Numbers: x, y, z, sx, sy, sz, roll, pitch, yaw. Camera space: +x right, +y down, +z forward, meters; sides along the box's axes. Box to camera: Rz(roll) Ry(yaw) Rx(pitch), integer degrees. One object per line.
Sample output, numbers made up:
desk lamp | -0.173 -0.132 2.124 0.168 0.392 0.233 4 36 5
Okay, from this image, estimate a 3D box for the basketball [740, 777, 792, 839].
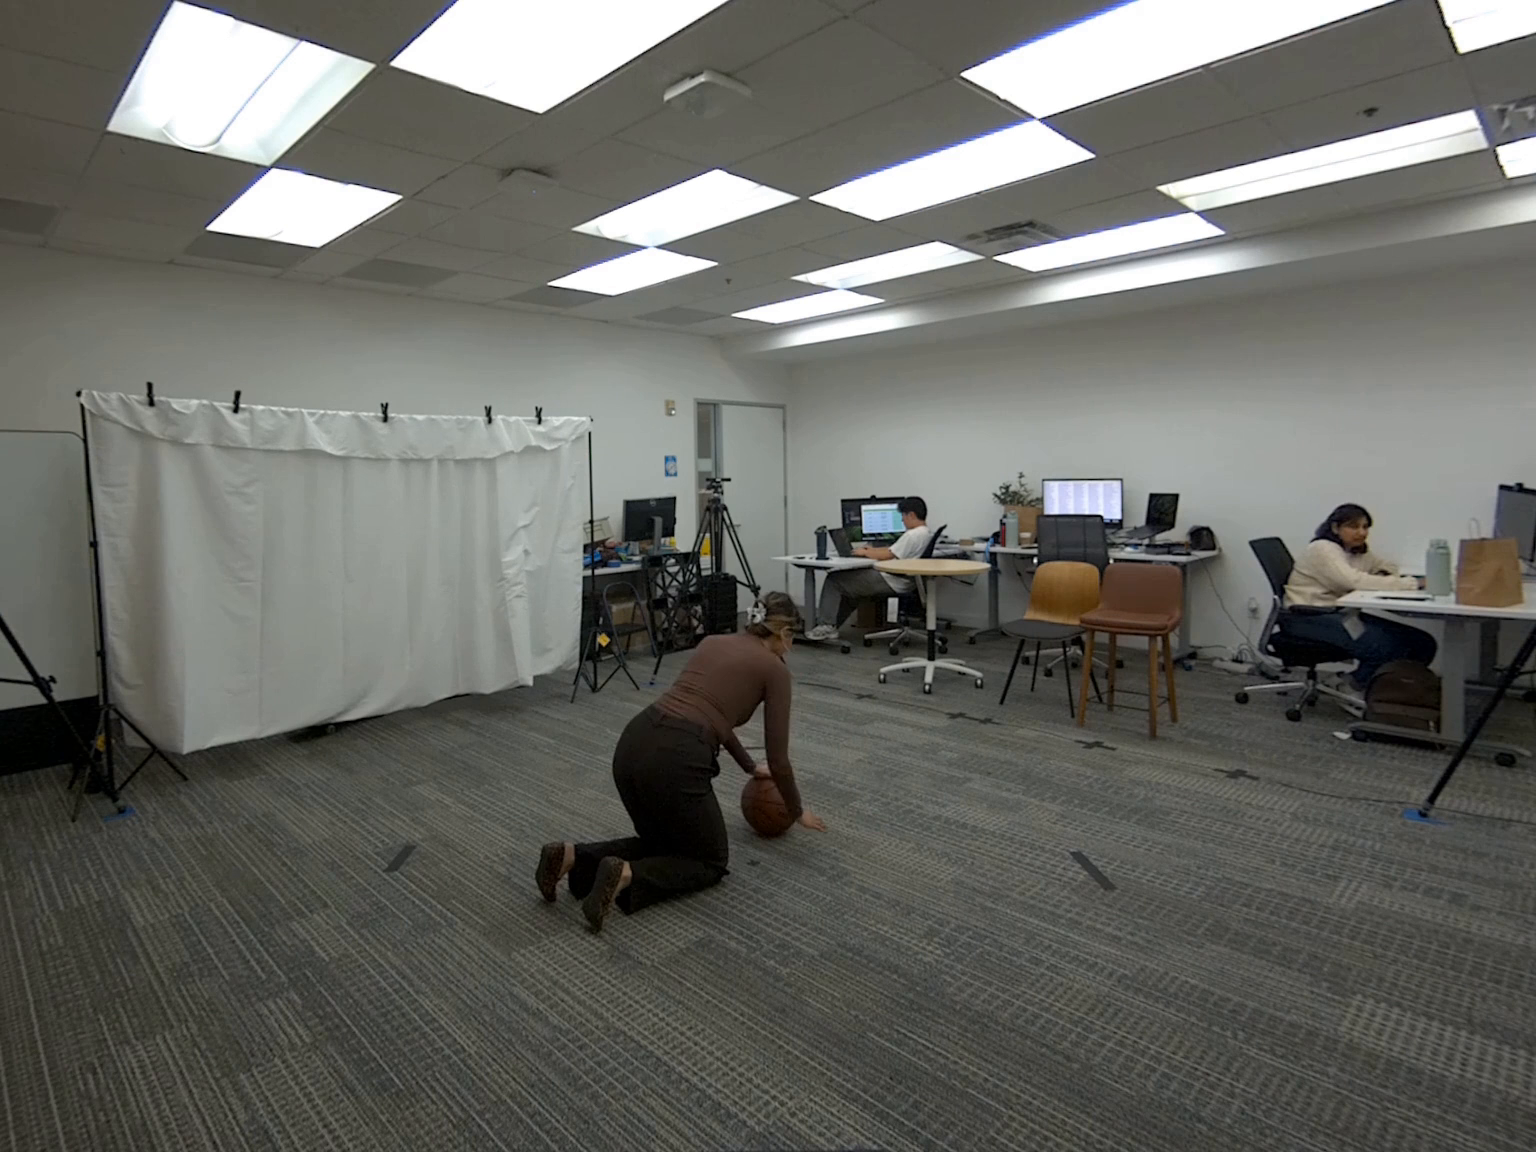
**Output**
basketball | 0.010 0.889 3.377 0.236 0.235 0.237 -1 5 -2
